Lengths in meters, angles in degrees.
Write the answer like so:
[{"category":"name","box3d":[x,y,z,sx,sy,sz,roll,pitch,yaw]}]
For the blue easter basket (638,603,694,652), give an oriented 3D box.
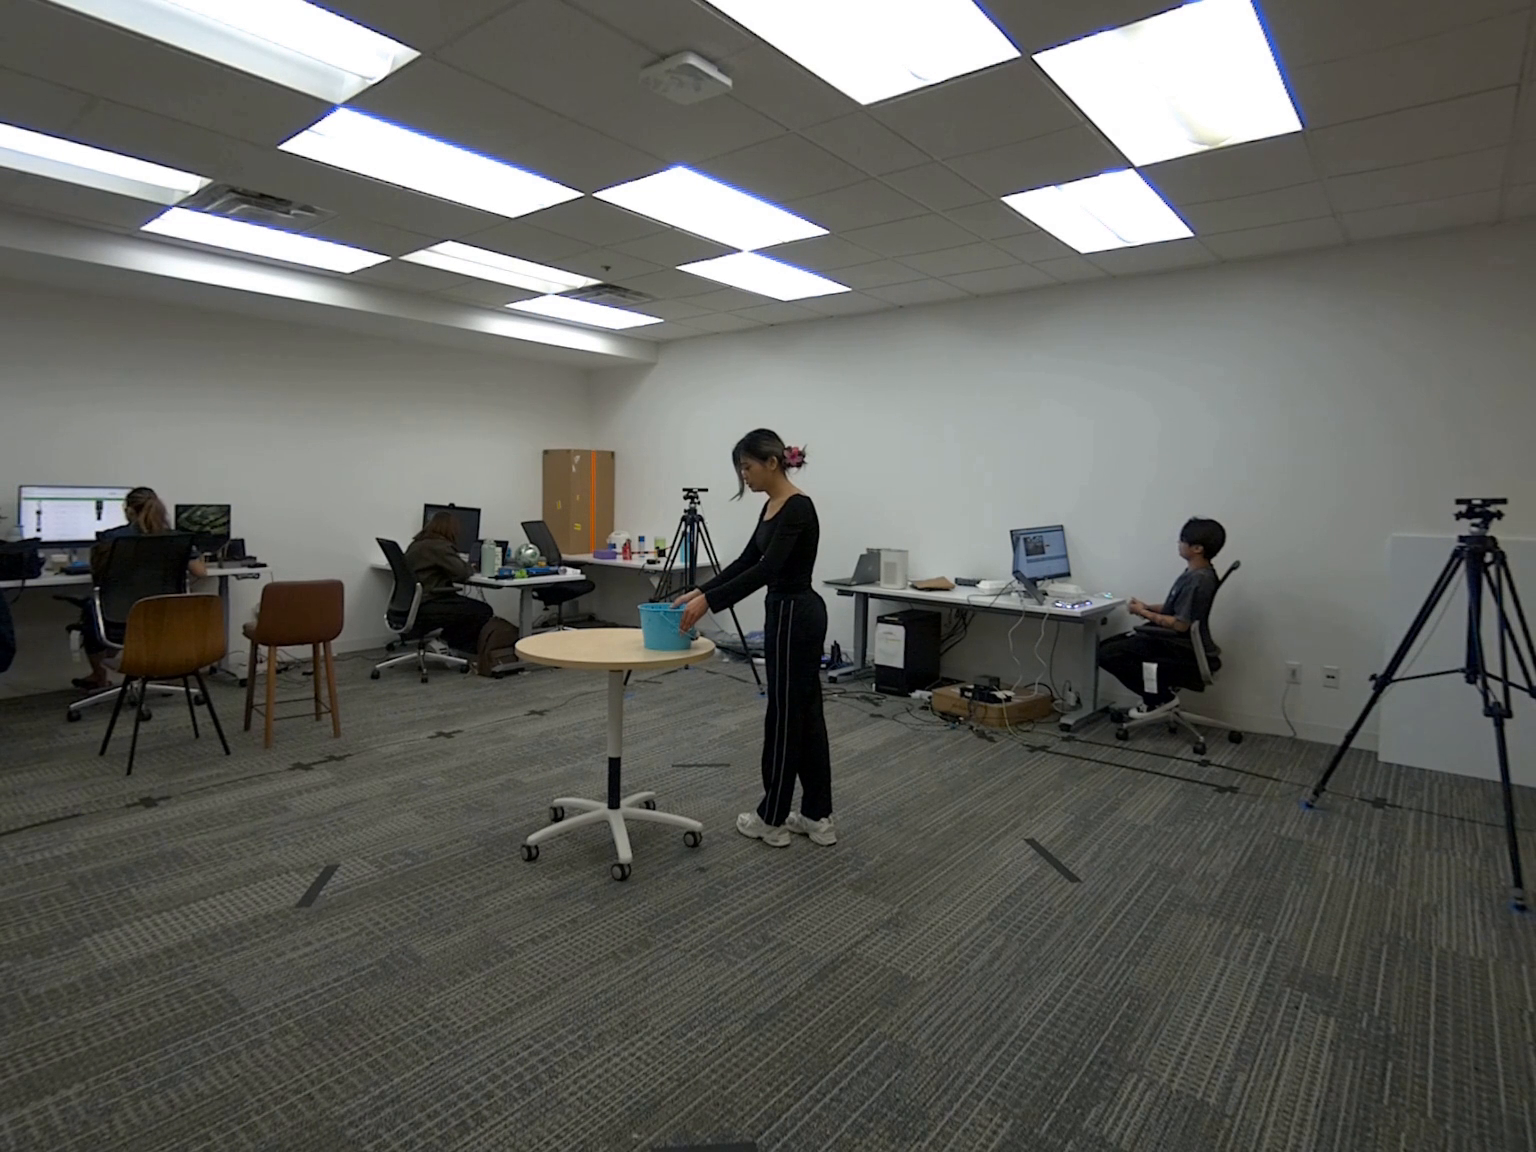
[{"category":"blue easter basket","box3d":[-0.394,0.193,3.258,0.243,0.155,0.244,0,4,-2]}]
